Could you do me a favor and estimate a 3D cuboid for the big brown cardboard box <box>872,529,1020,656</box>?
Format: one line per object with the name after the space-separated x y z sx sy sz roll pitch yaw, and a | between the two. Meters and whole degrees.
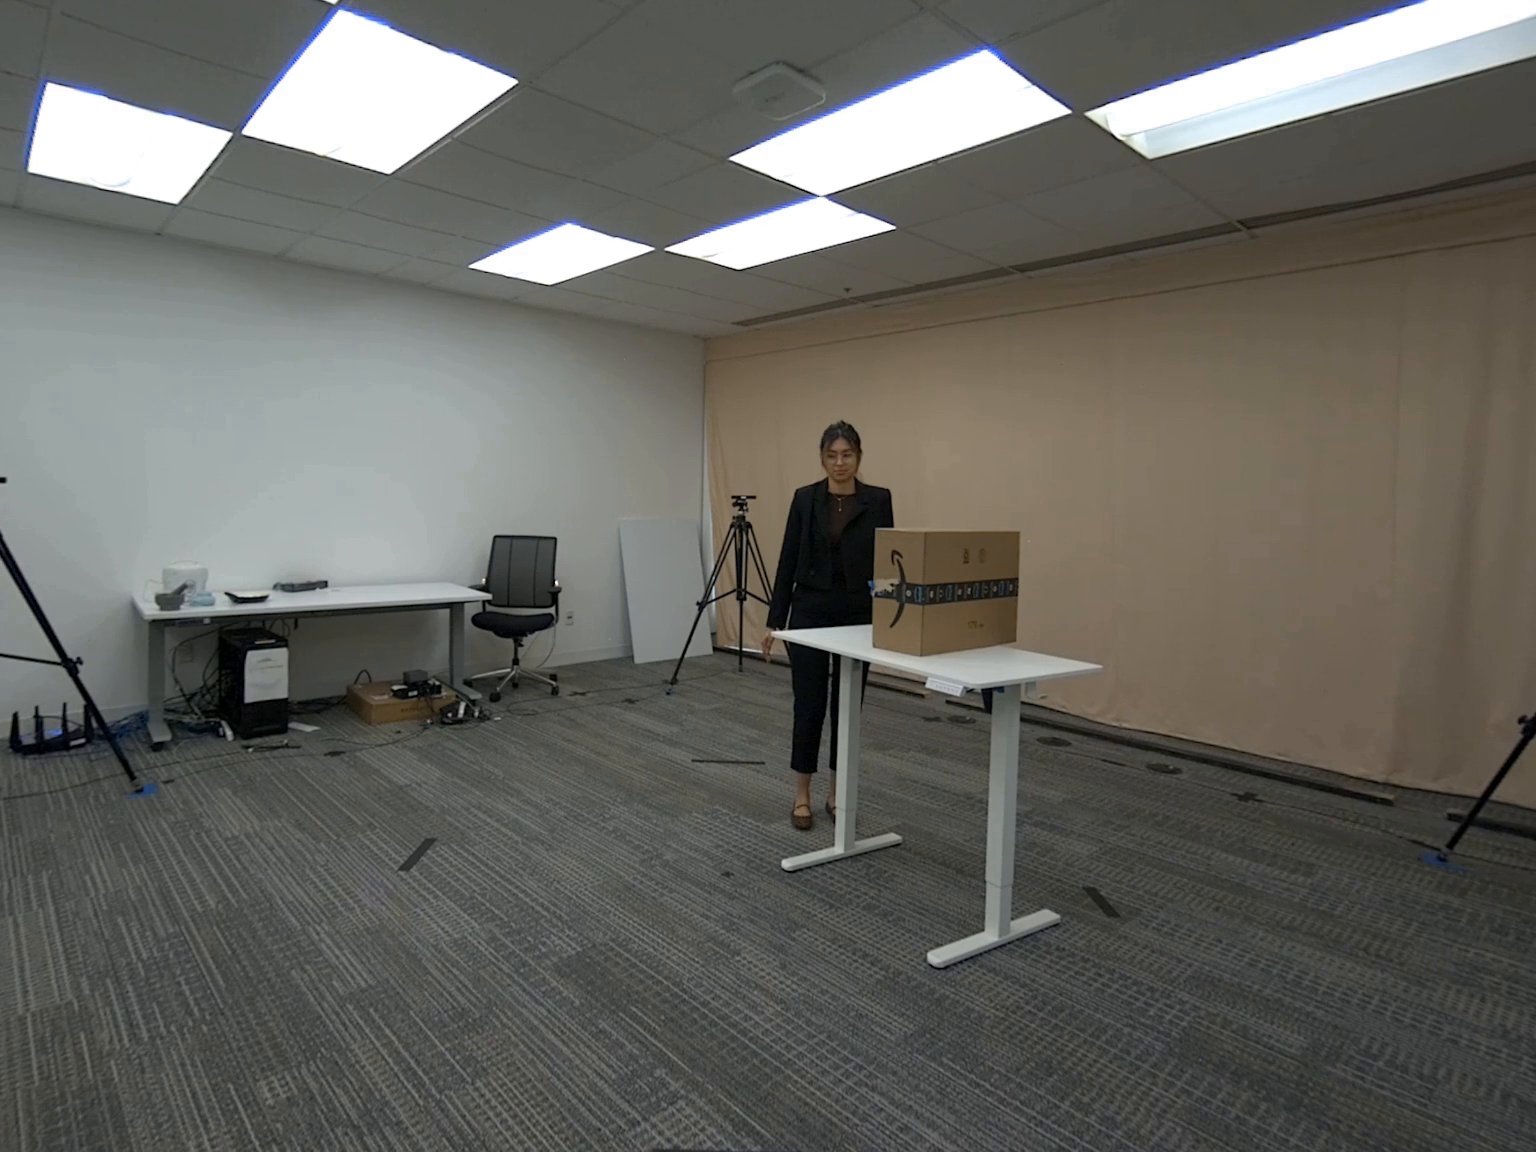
0.634 0.038 3.017 0.575 0.417 0.239 -2 4 -41 | big brown cardboard box
